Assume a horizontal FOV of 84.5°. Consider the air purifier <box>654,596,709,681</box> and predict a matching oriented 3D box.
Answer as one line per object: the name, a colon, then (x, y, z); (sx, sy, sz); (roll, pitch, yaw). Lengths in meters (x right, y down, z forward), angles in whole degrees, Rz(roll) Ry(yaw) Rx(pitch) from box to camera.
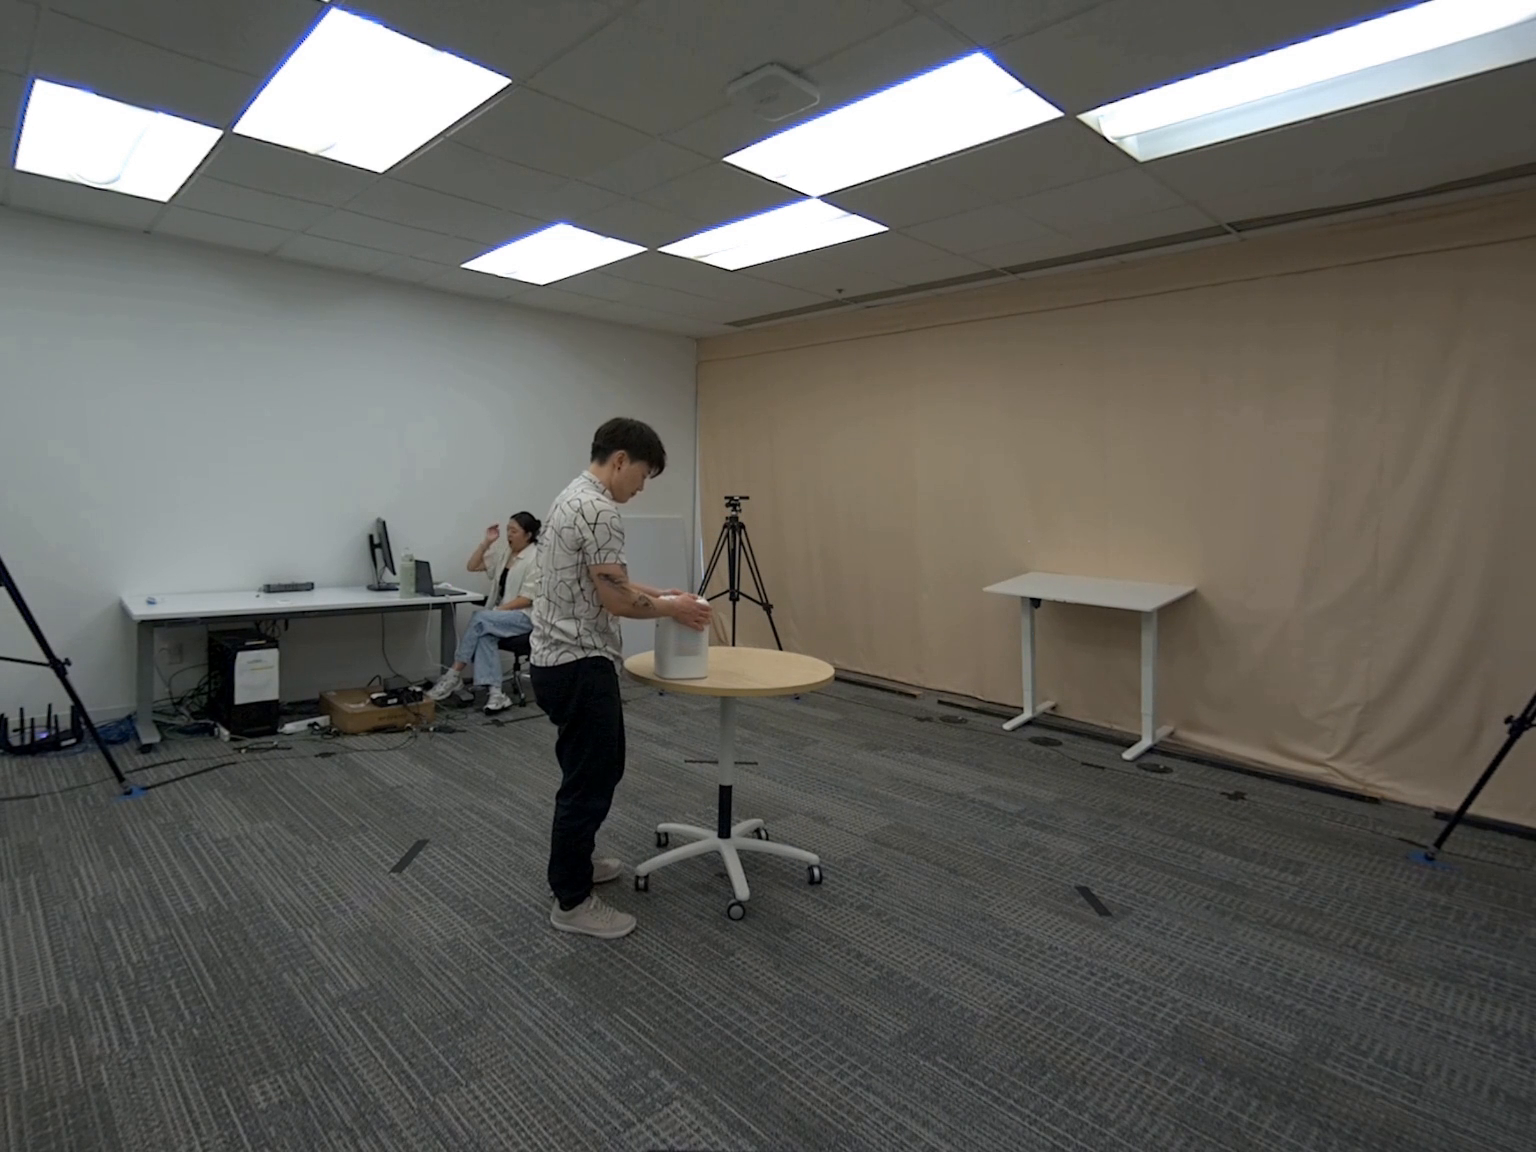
air purifier: (-0.301, 0.210, 2.869); (0.170, 0.264, 0.174); (0, 6, -15)
